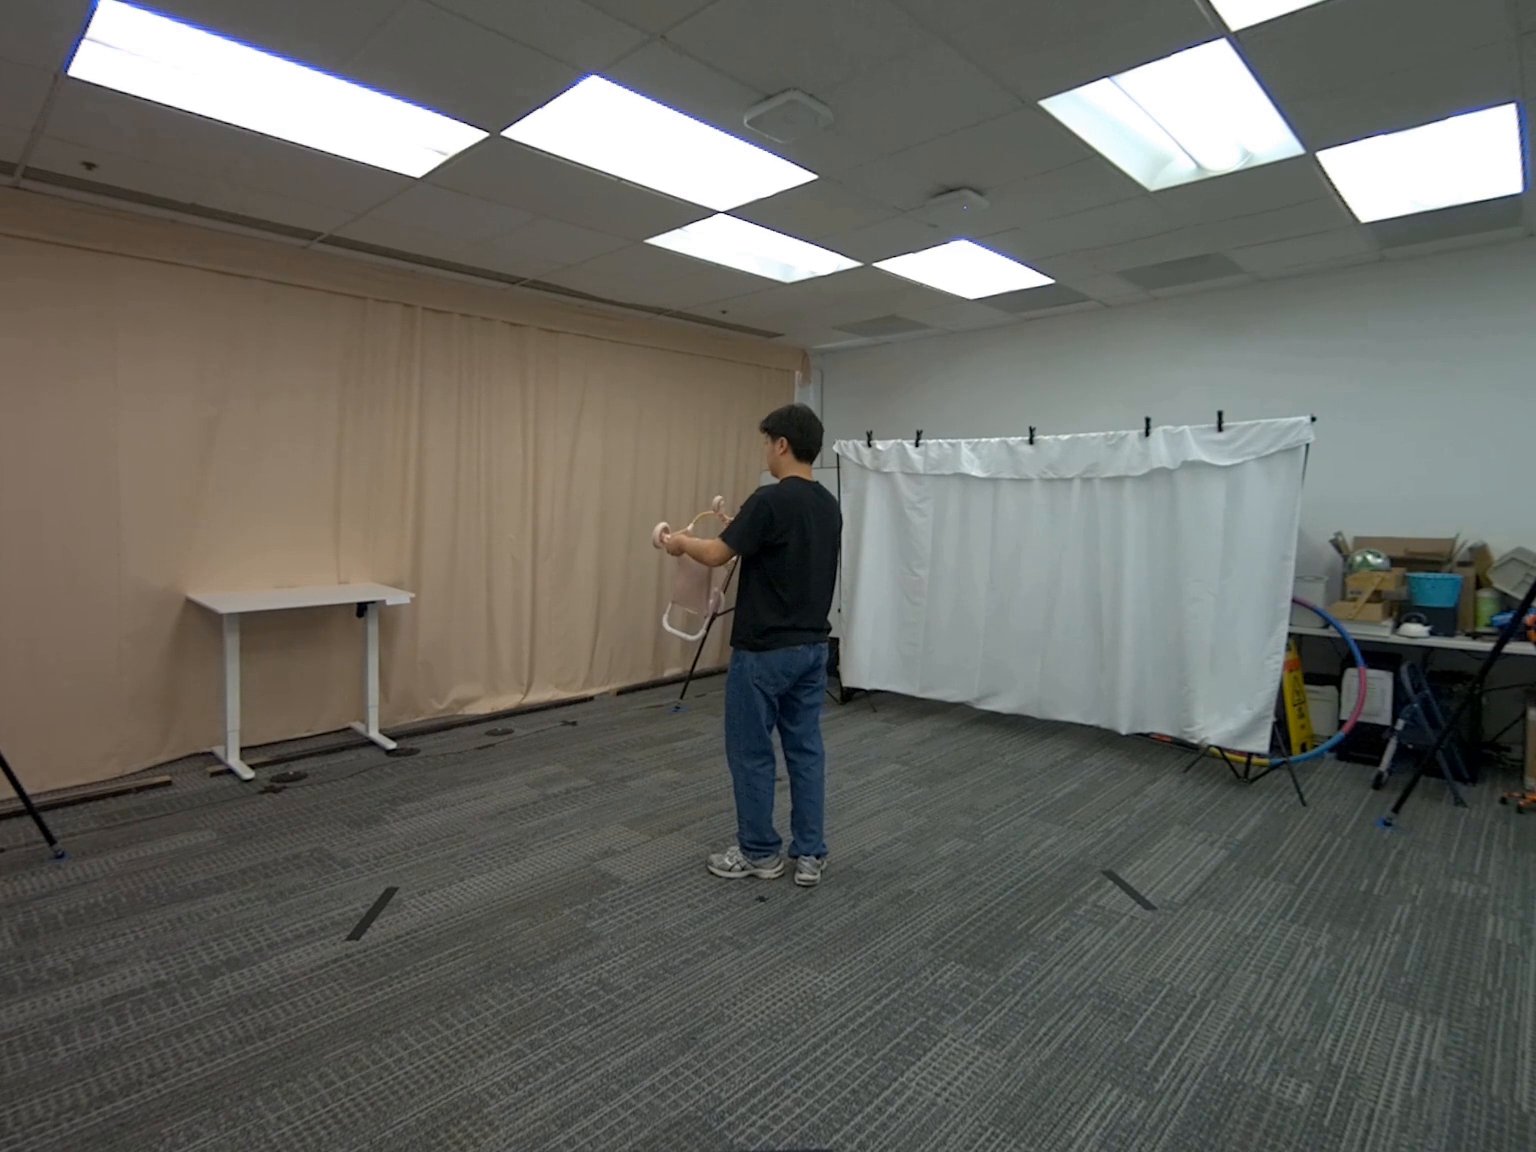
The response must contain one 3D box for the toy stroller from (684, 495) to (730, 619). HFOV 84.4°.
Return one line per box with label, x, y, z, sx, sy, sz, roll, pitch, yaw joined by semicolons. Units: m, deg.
toy stroller;-0.294;-0.043;3.501;0.289;0.526;0.337;16;33;23
